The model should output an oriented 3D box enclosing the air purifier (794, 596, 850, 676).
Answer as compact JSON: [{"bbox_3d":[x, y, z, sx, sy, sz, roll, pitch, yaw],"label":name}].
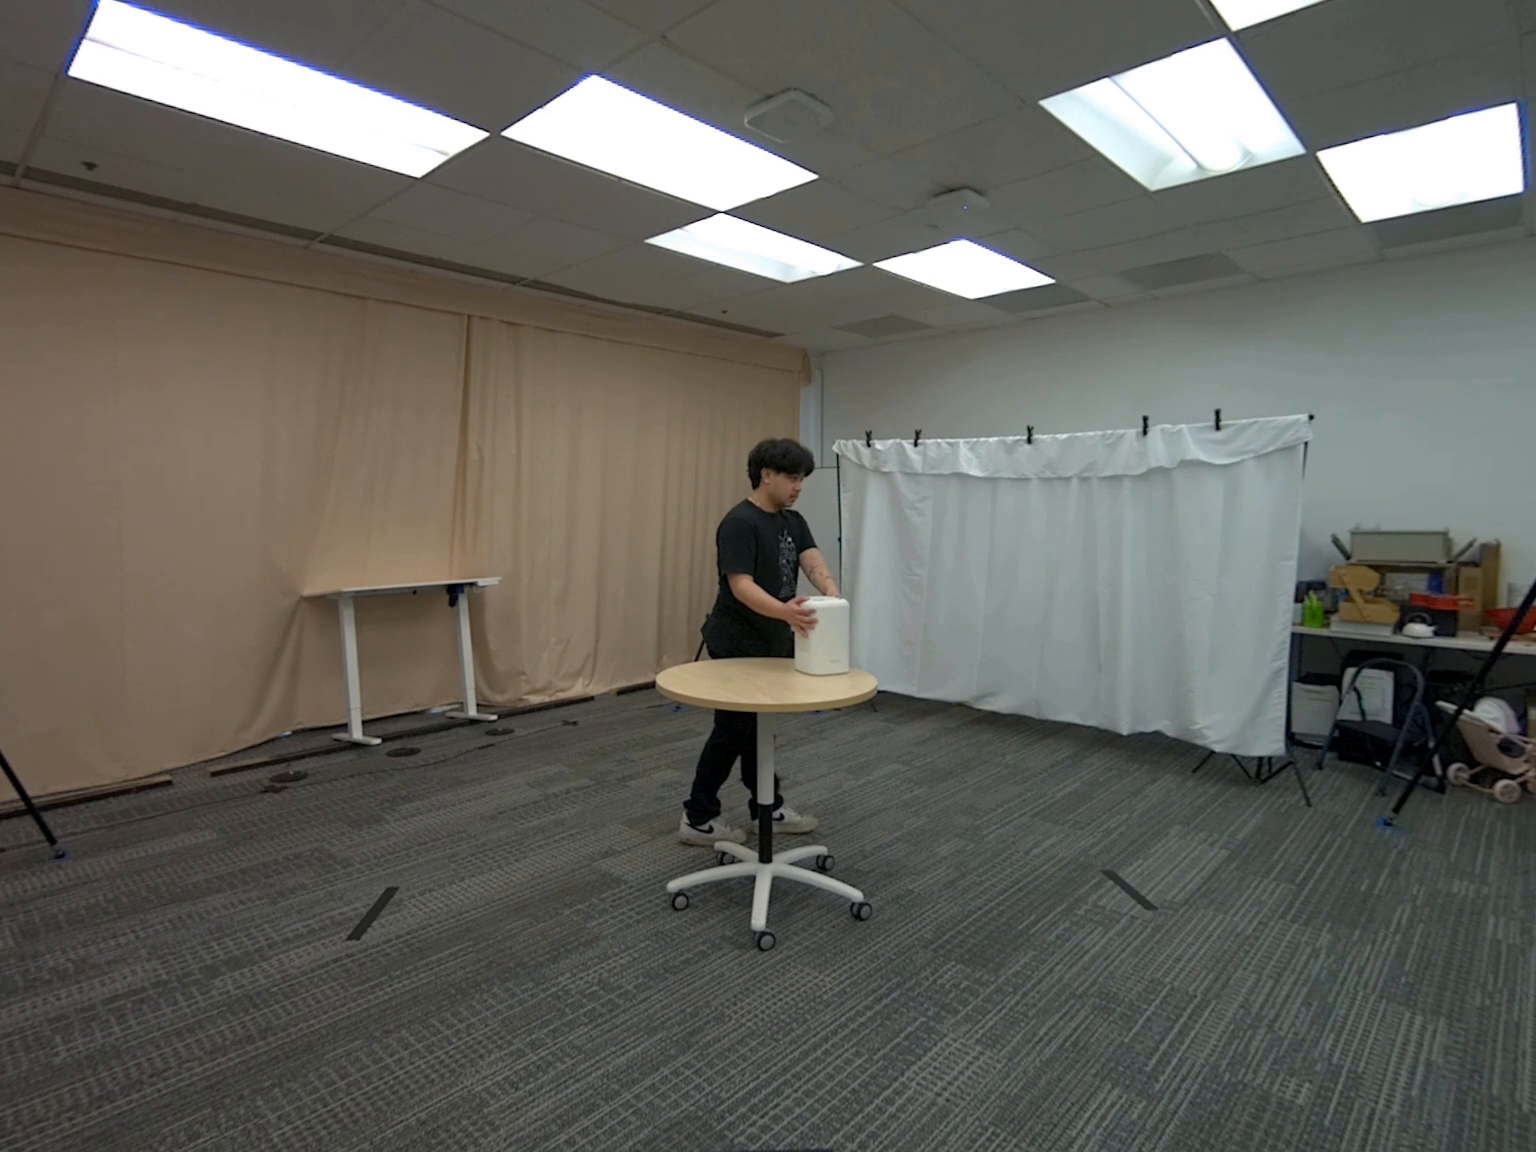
[{"bbox_3d":[0.198,0.213,3.048,0.167,0.265,0.175,0,2,-22],"label":"air purifier"}]
